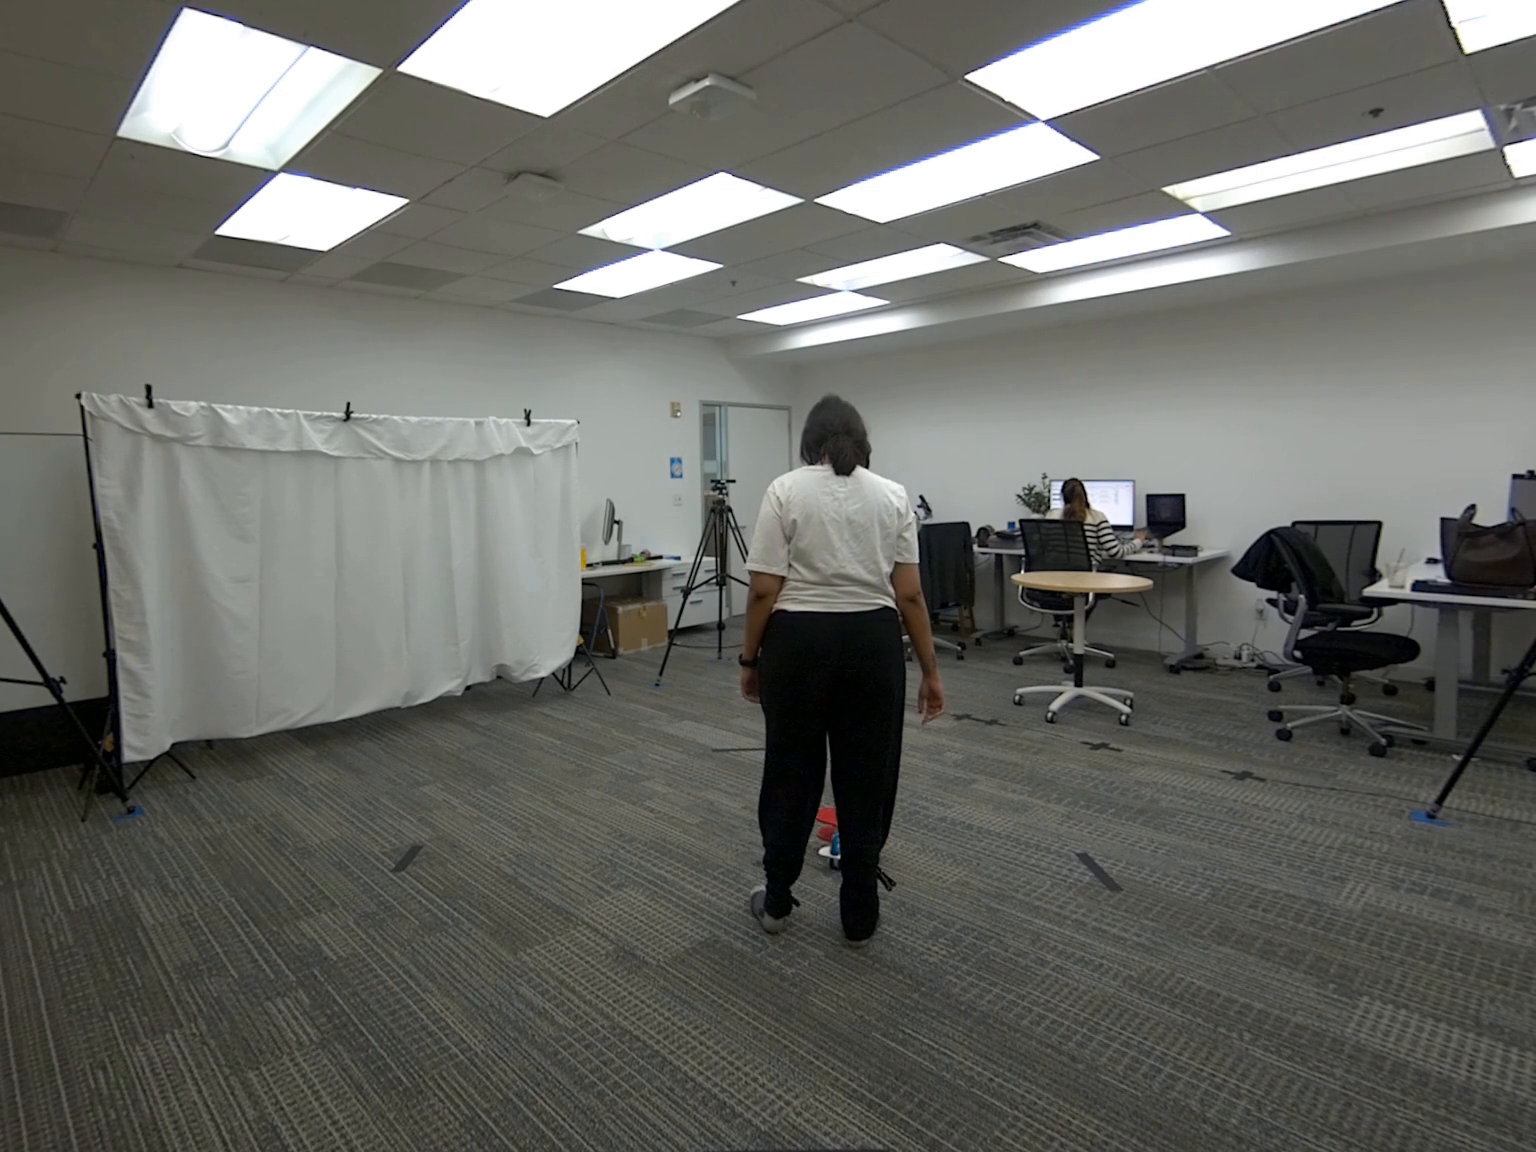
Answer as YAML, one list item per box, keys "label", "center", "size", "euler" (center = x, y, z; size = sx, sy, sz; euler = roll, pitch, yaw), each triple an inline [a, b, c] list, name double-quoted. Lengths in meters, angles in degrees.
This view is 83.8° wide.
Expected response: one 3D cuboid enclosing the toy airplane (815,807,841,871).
- label: "toy airplane"
  center: [0.309, 0.965, 3.133]
  size: [0.251, 0.156, 0.260]
  euler: [-1, 5, -1]
